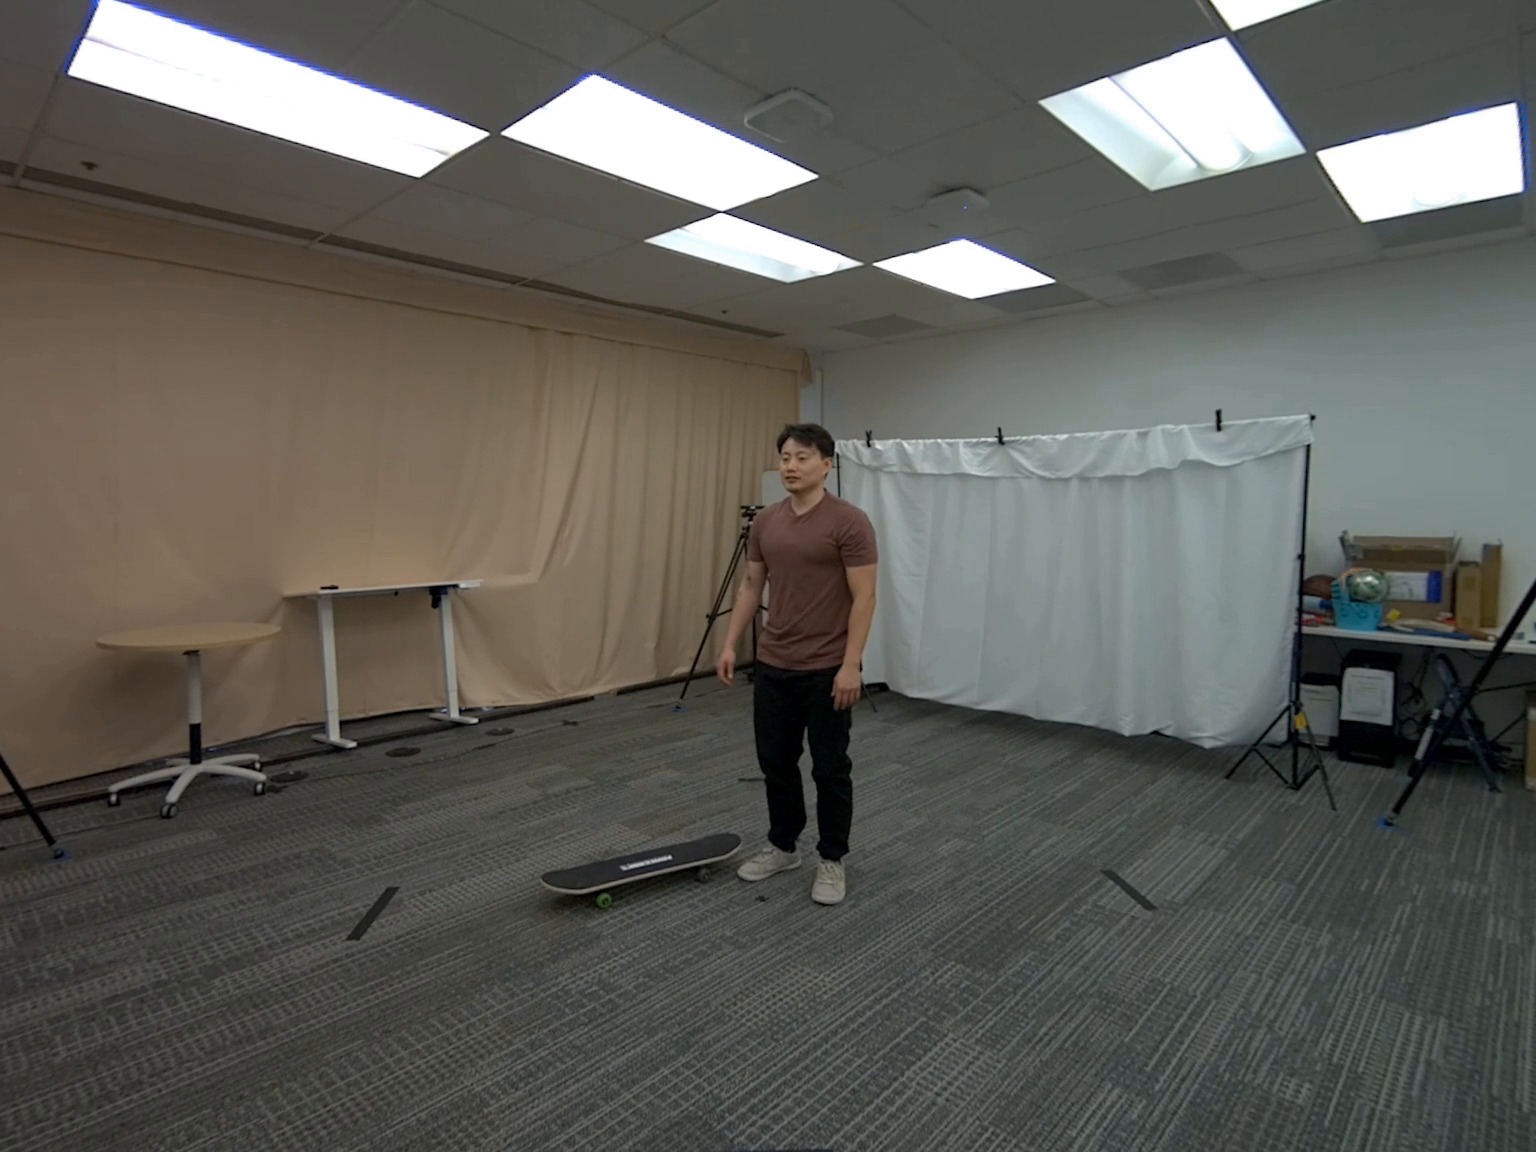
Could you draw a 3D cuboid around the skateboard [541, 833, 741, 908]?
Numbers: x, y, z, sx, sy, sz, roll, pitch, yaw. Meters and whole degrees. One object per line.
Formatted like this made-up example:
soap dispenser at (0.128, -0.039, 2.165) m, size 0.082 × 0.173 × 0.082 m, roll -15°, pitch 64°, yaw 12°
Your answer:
skateboard at (-0.446, 1.088, 3.087) m, size 0.764 × 0.110 × 0.199 m, roll -3°, pitch 4°, yaw -30°
